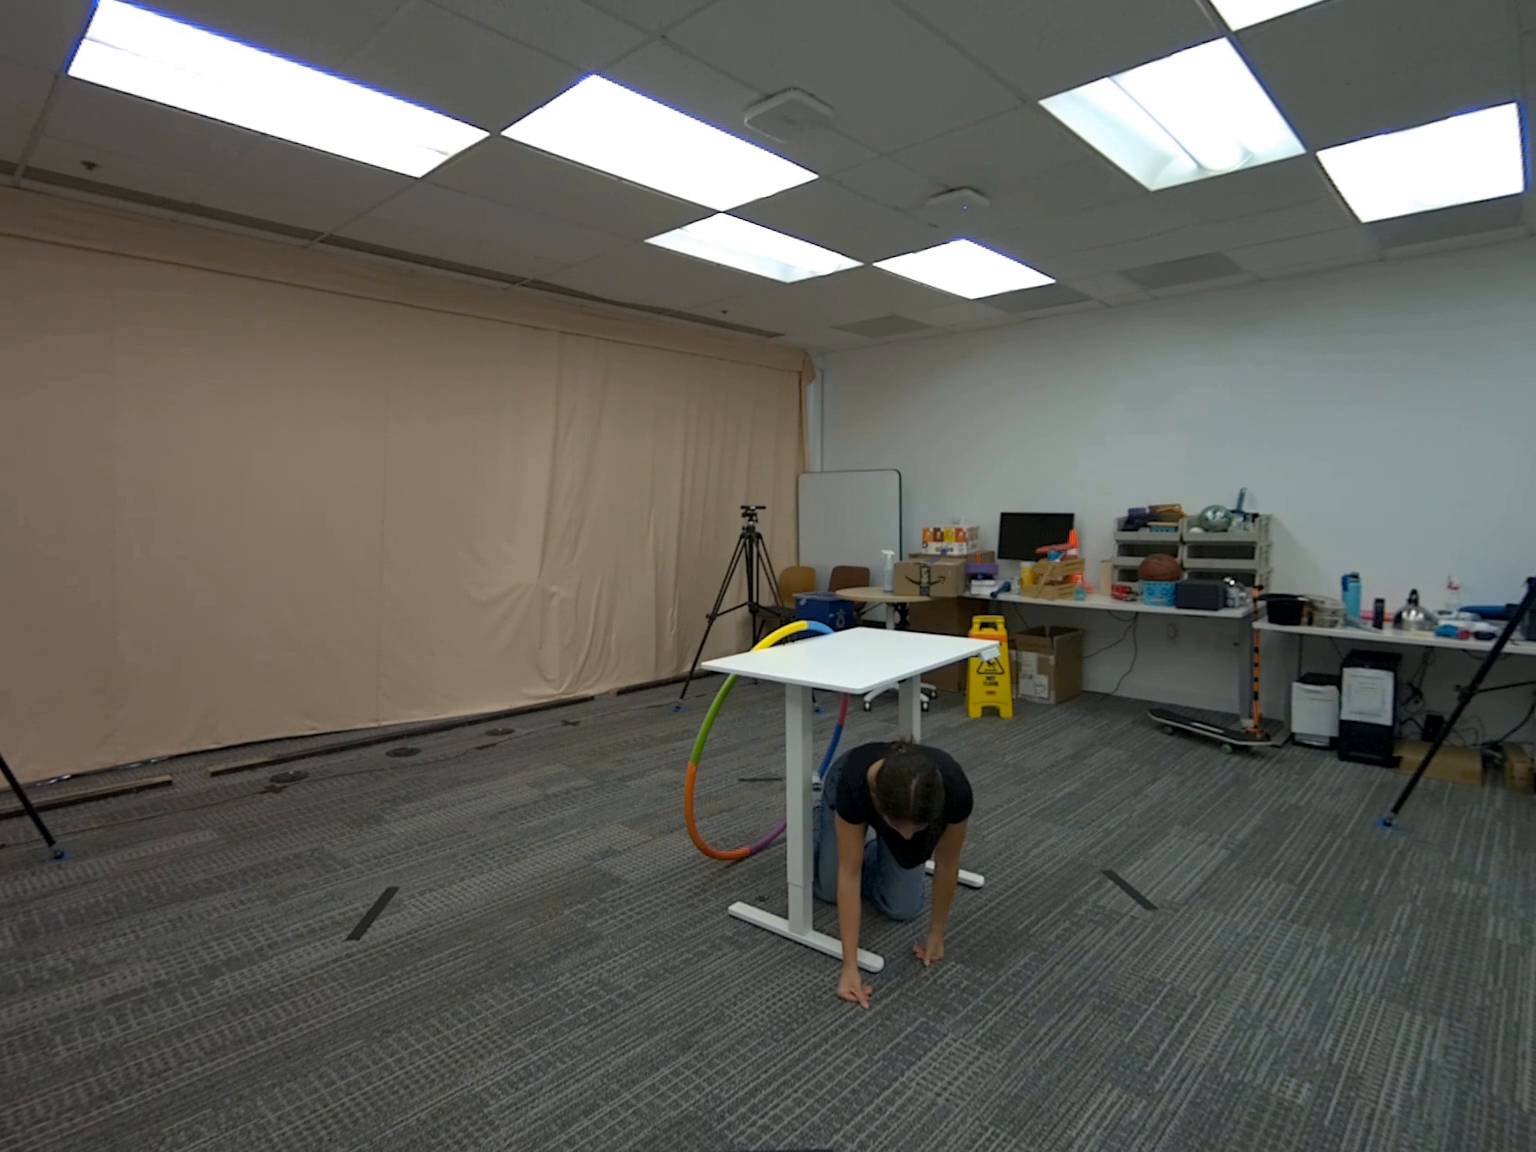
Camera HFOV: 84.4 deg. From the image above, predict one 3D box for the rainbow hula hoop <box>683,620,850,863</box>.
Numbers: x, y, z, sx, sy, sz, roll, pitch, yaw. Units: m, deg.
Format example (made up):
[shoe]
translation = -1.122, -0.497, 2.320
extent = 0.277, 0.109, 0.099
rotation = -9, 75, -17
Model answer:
[rainbow hula hoop]
translation = 0.032, 0.647, 3.274
extent = 0.037, 0.973, 0.949
rotation = 20, 15, 36
